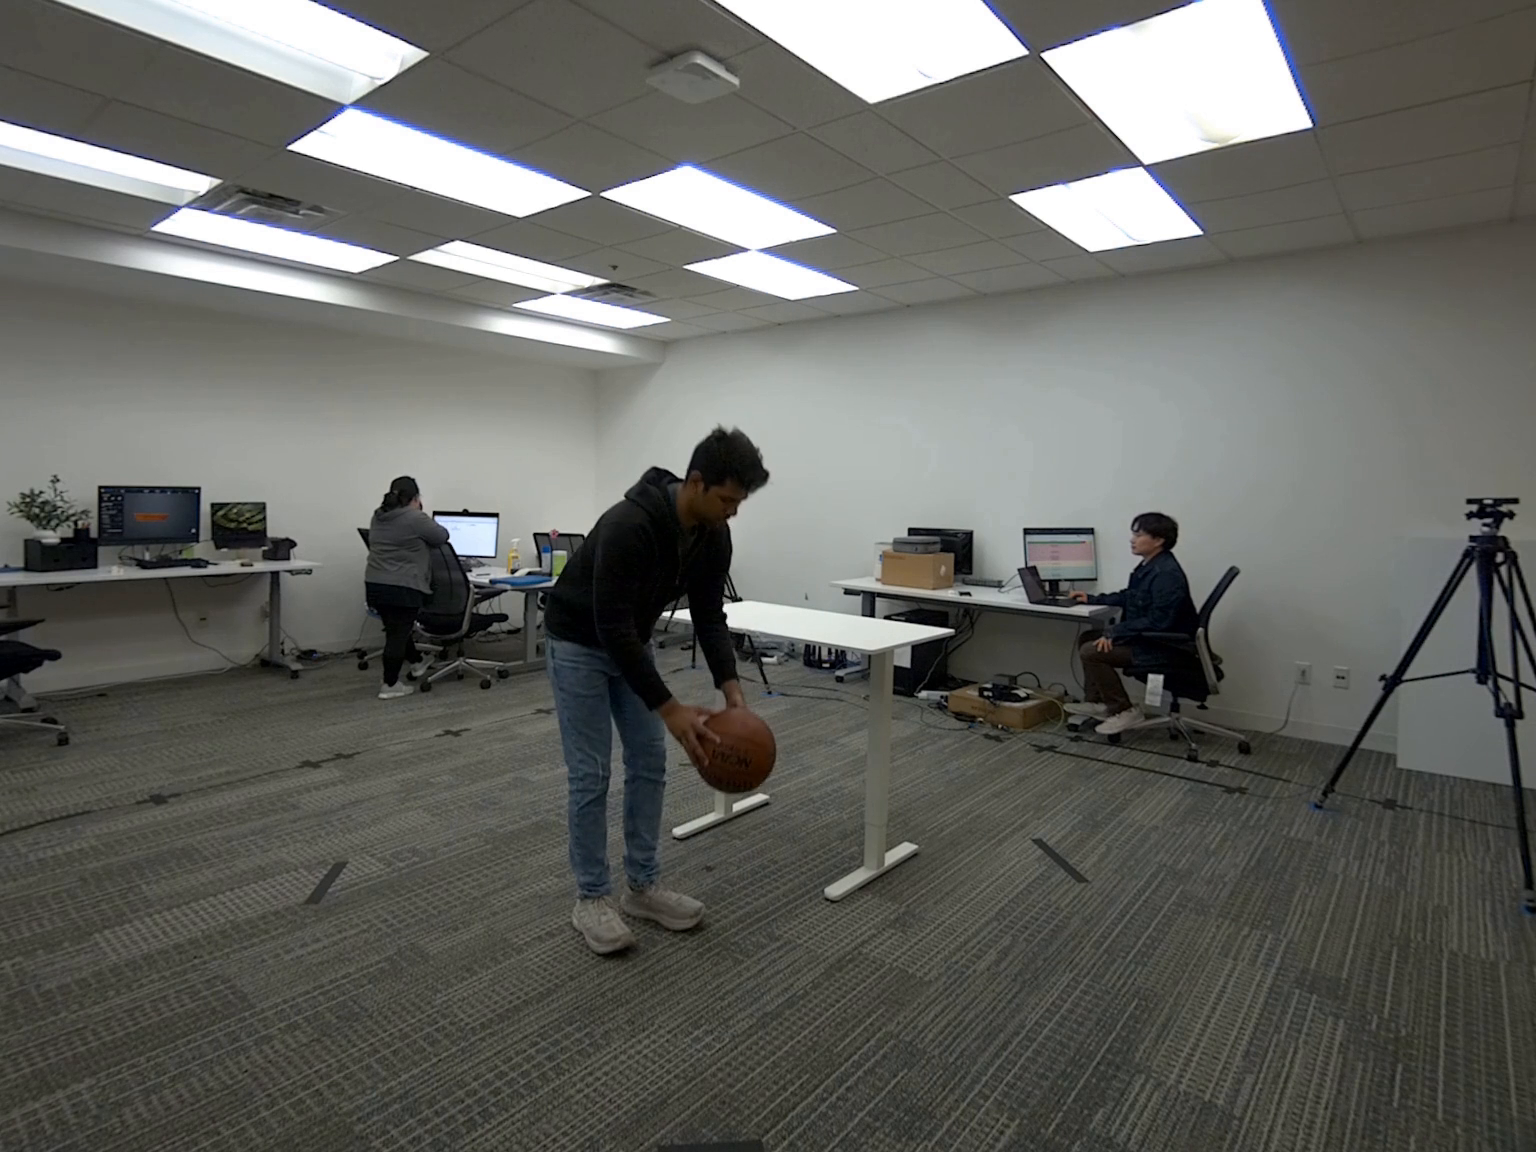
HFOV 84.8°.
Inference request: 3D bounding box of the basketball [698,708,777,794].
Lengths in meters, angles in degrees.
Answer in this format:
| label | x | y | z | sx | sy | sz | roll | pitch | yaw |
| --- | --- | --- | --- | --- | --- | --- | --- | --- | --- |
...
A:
| label | x | y | z | sx | sy | sz | roll | pitch | yaw |
| --- | --- | --- | --- | --- | --- | --- | --- | --- | --- |
| basketball | -0.109 | 0.487 | 2.435 | 0.235 | 0.235 | 0.237 | 1 | 4 | -2 |
